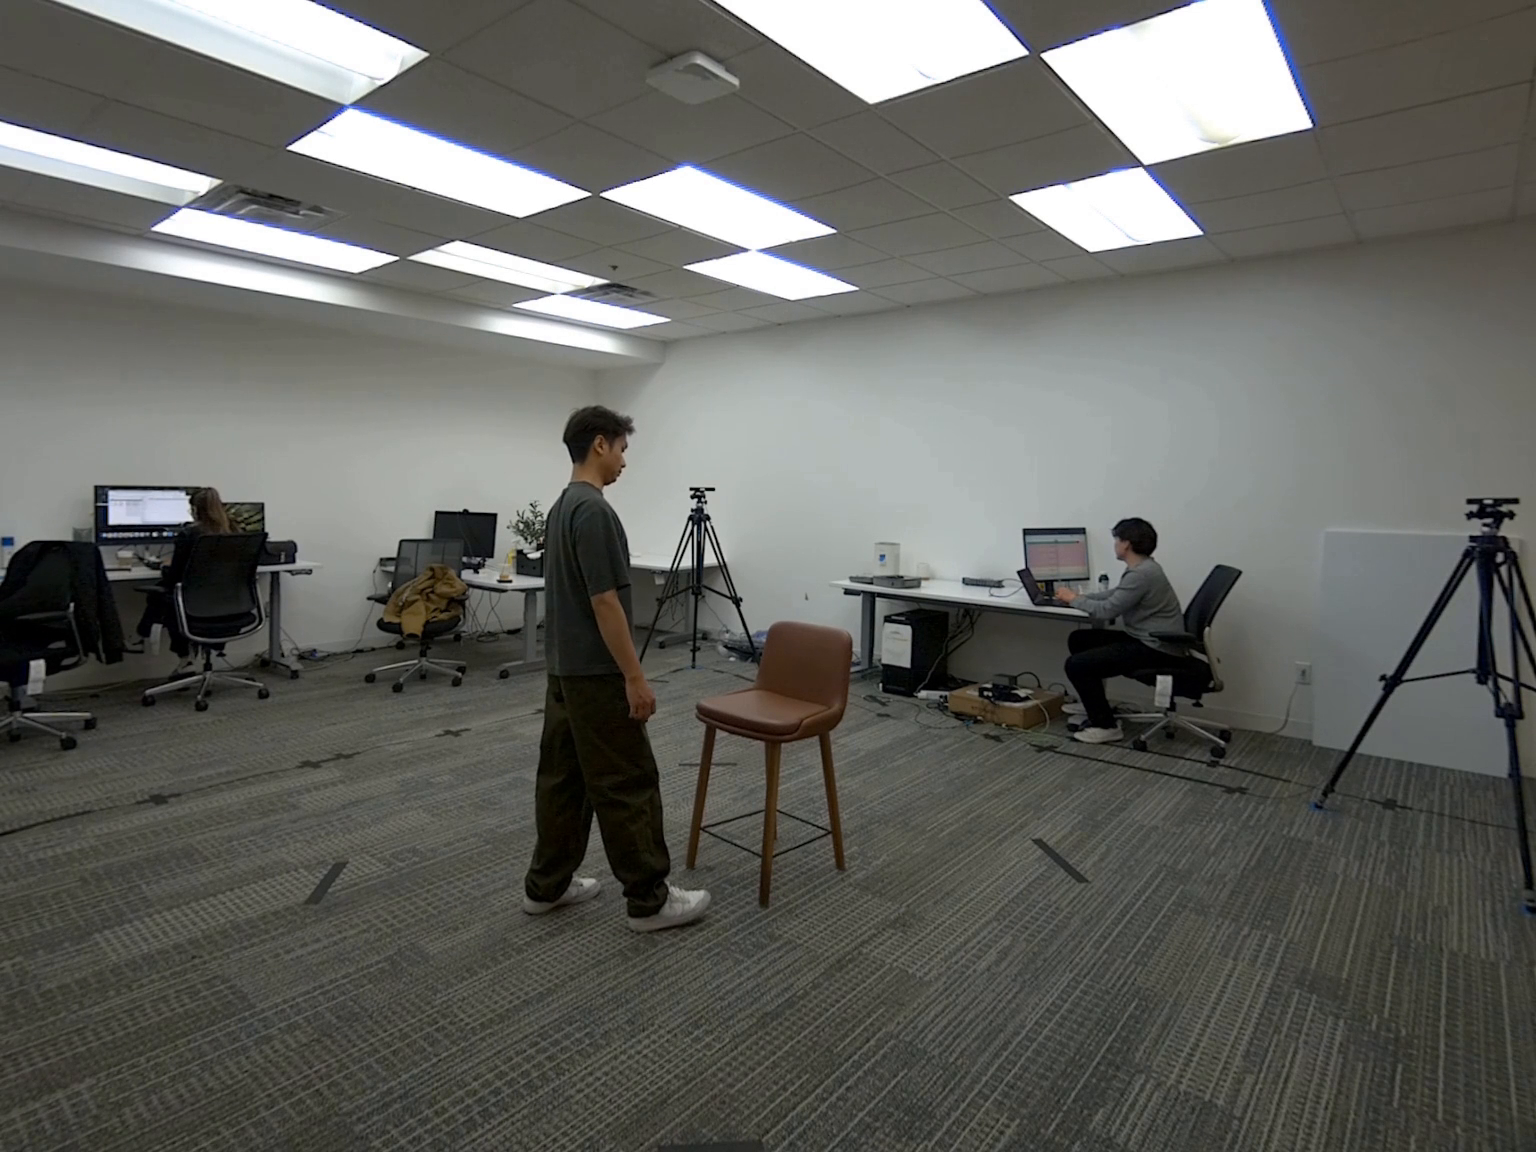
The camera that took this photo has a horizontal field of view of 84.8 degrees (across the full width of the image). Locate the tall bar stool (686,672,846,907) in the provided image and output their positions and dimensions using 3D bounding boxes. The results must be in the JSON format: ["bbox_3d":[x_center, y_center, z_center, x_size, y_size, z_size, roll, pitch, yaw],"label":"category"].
[{"bbox_3d":[-0.003,0.631,3.103,0.452,0.889,0.472,1,2,-45],"label":"tall bar stool"}]
